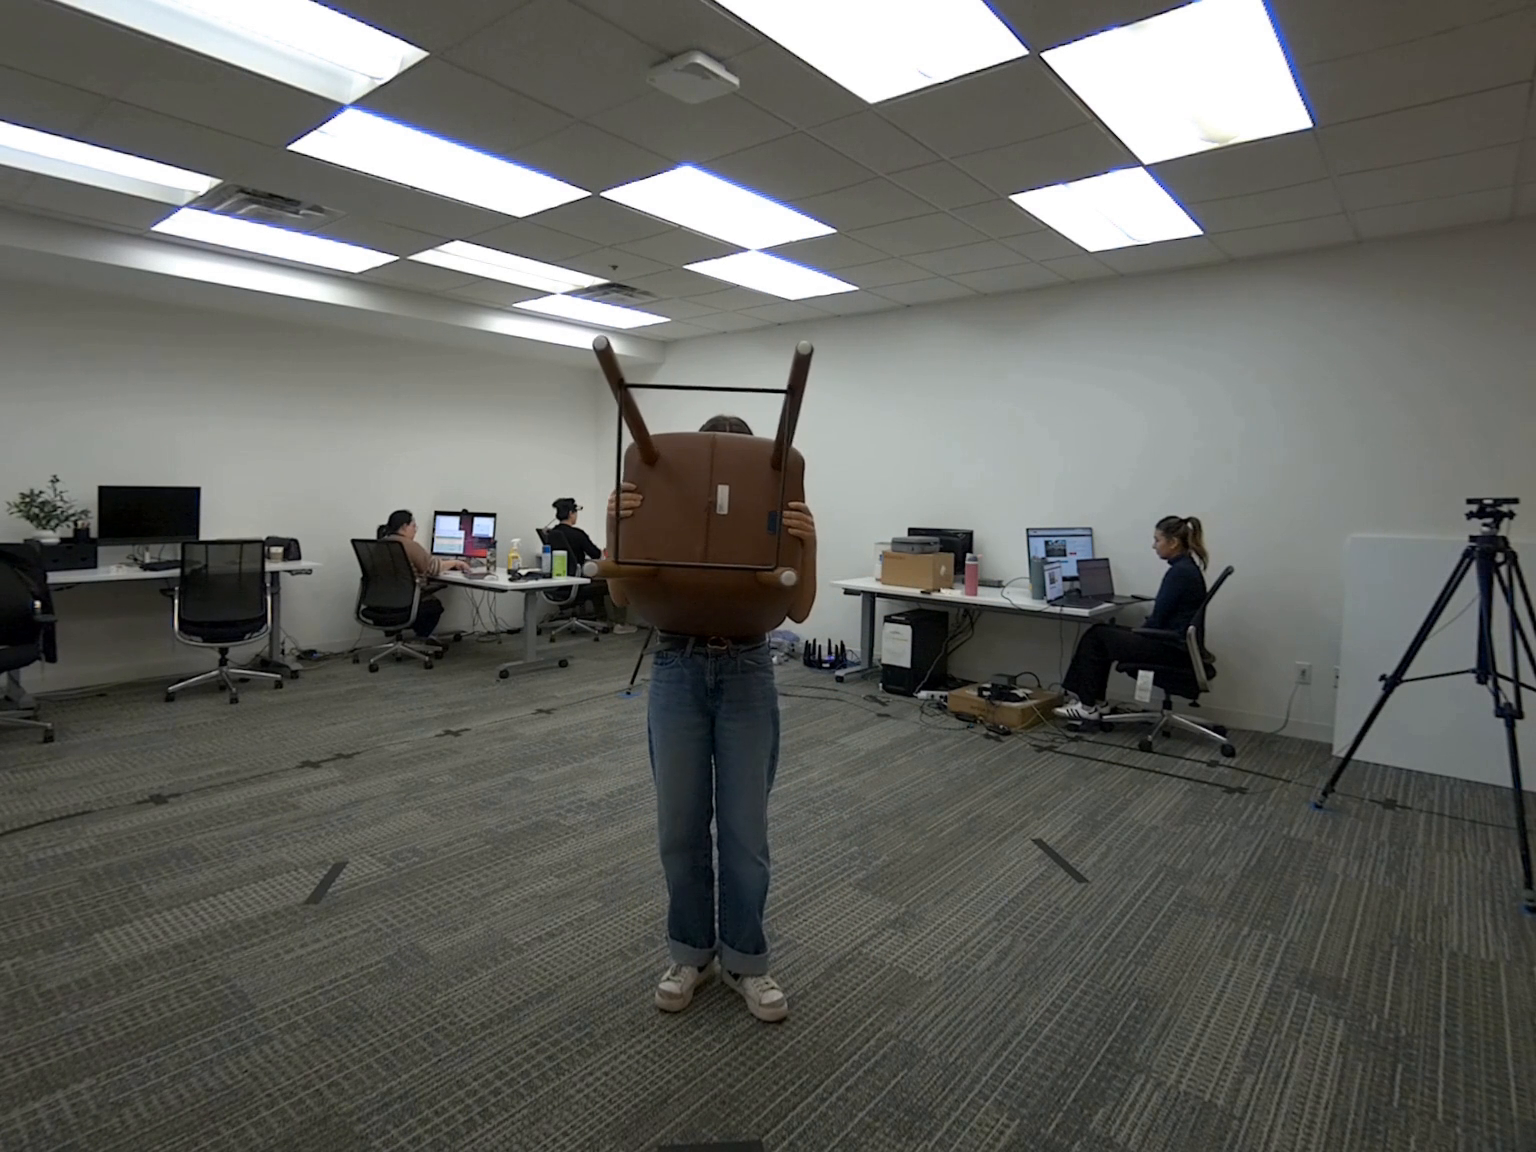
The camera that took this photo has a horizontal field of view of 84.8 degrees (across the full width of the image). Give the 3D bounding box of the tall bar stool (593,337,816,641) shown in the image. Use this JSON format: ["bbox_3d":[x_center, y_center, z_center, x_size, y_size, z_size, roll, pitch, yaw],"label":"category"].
[{"bbox_3d":[-0.142,-0.143,1.946,0.458,0.473,0.877,2,-11,1],"label":"tall bar stool"}]
